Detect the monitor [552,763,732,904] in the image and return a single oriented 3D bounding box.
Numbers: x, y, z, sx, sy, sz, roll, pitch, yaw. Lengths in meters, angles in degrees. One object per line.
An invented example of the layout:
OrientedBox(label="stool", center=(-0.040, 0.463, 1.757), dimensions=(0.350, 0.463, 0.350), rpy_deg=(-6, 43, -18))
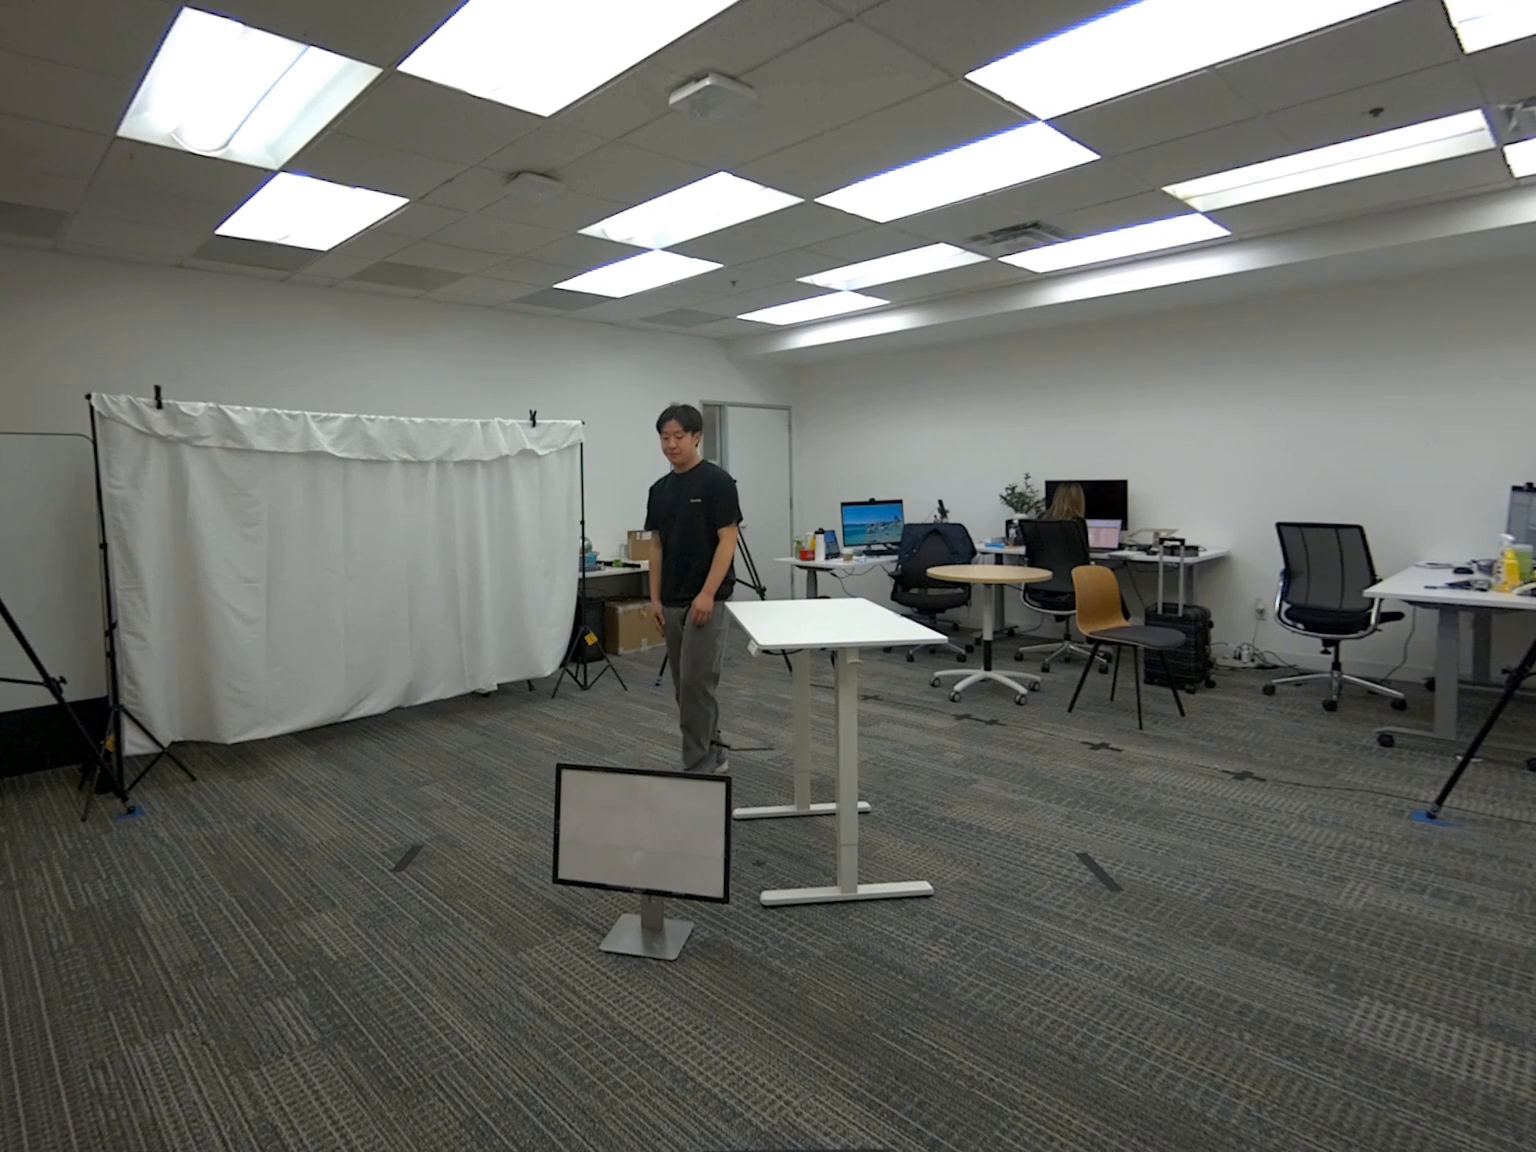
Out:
OrientedBox(label="monitor", center=(-0.368, 0.859, 2.593), dimensions=(0.571, 0.562, 0.220), rpy_deg=(1, 8, 18))
